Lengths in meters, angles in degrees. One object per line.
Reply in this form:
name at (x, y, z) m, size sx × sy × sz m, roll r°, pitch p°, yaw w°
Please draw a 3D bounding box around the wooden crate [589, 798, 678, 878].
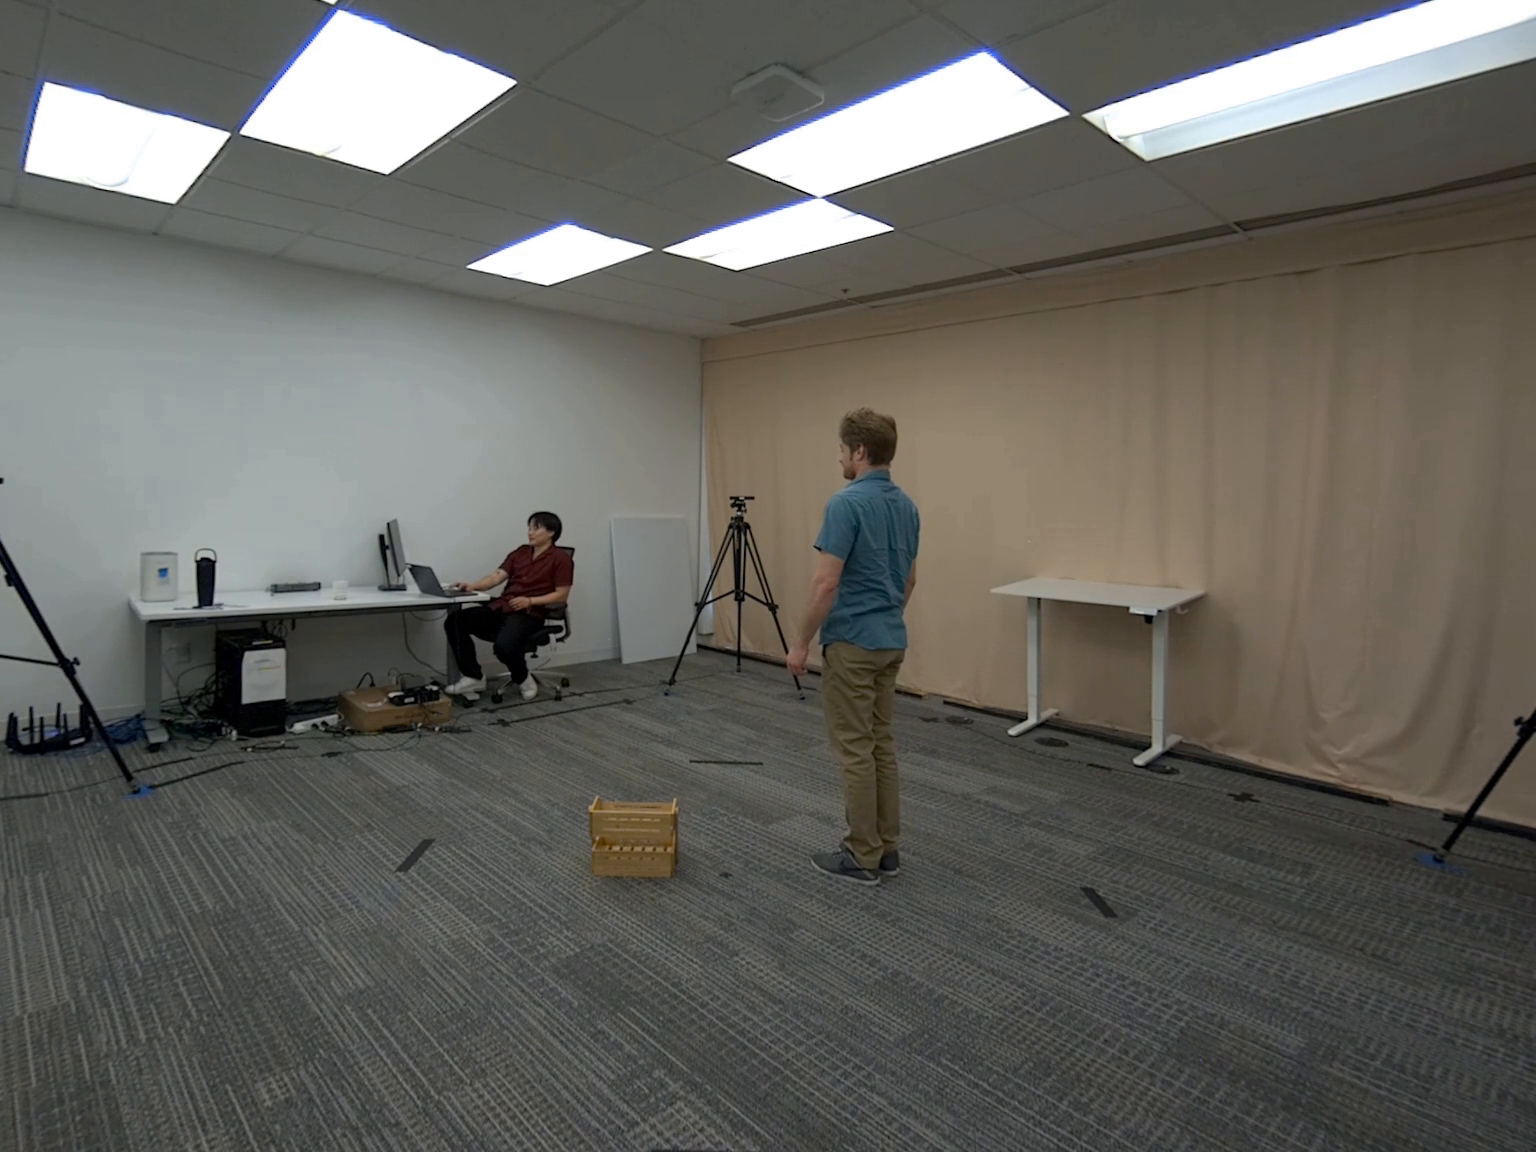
wooden crate at (-0.510, 0.954, 3.169) m, size 0.324 × 0.272 × 0.303 m, roll 2°, pitch 5°, yaw -2°
